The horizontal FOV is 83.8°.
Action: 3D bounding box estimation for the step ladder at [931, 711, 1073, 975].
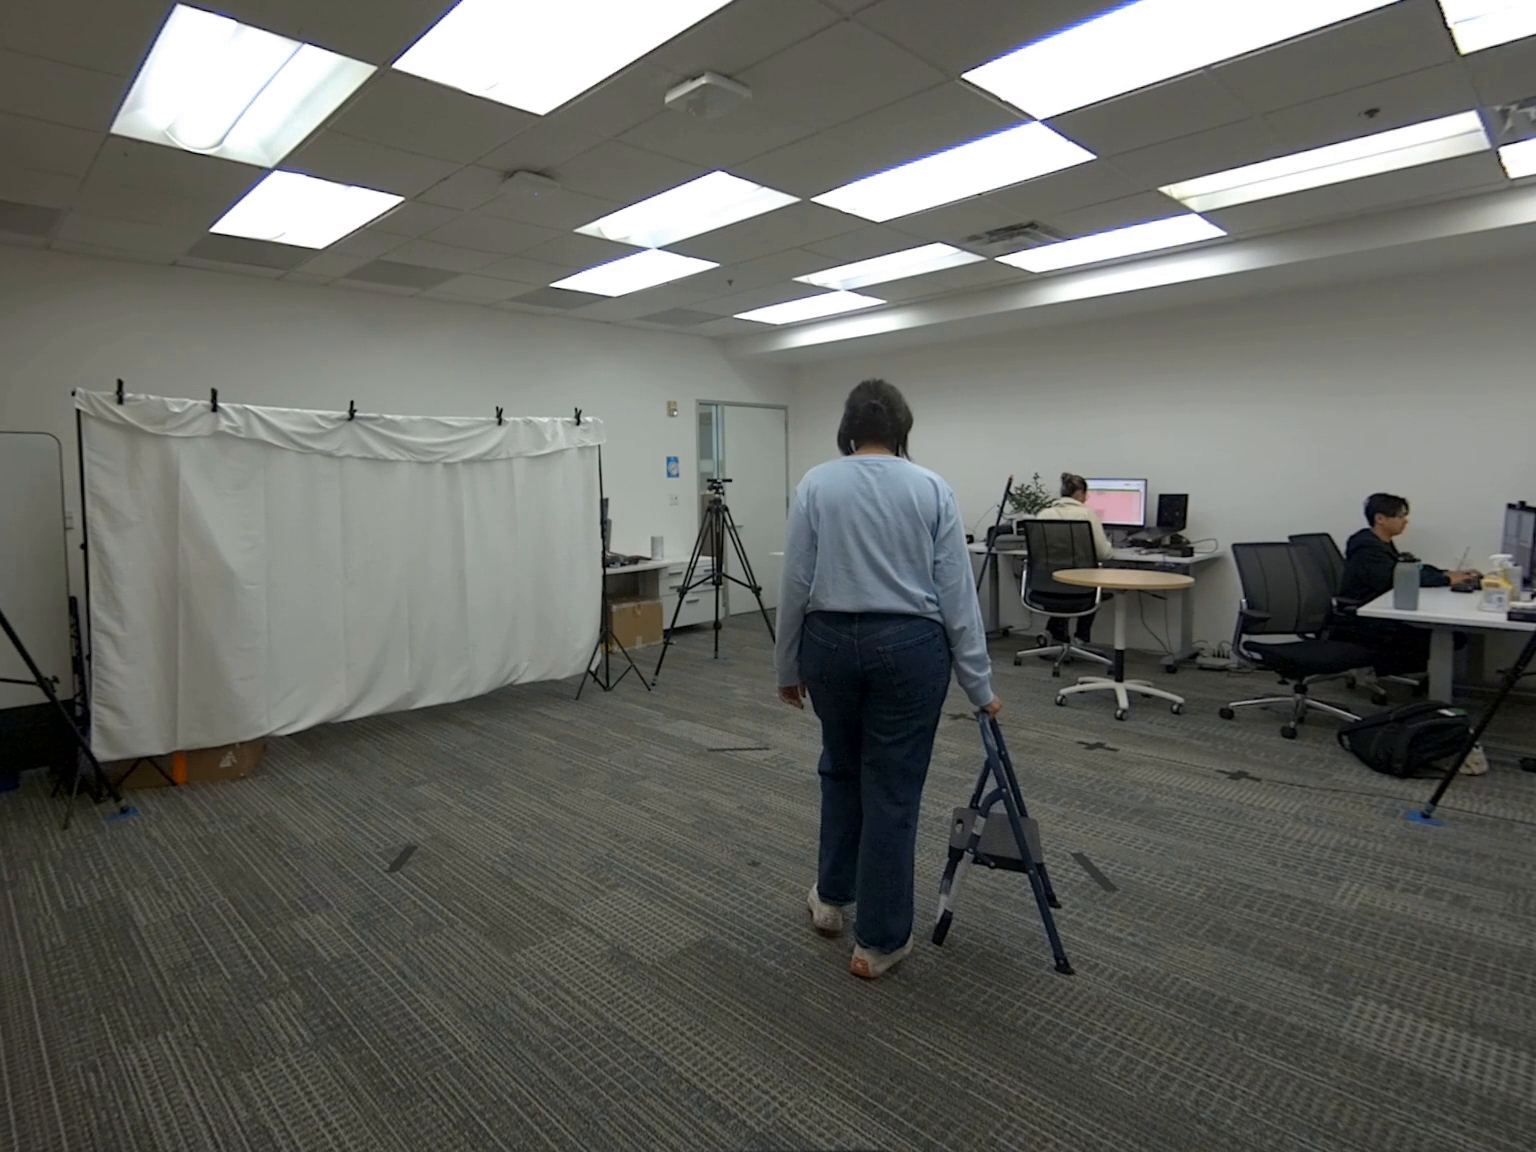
[{"bbox_3d":[0.677,0.686,2.400,0.355,0.605,0.424,4,2,15],"label":"step ladder"}]
